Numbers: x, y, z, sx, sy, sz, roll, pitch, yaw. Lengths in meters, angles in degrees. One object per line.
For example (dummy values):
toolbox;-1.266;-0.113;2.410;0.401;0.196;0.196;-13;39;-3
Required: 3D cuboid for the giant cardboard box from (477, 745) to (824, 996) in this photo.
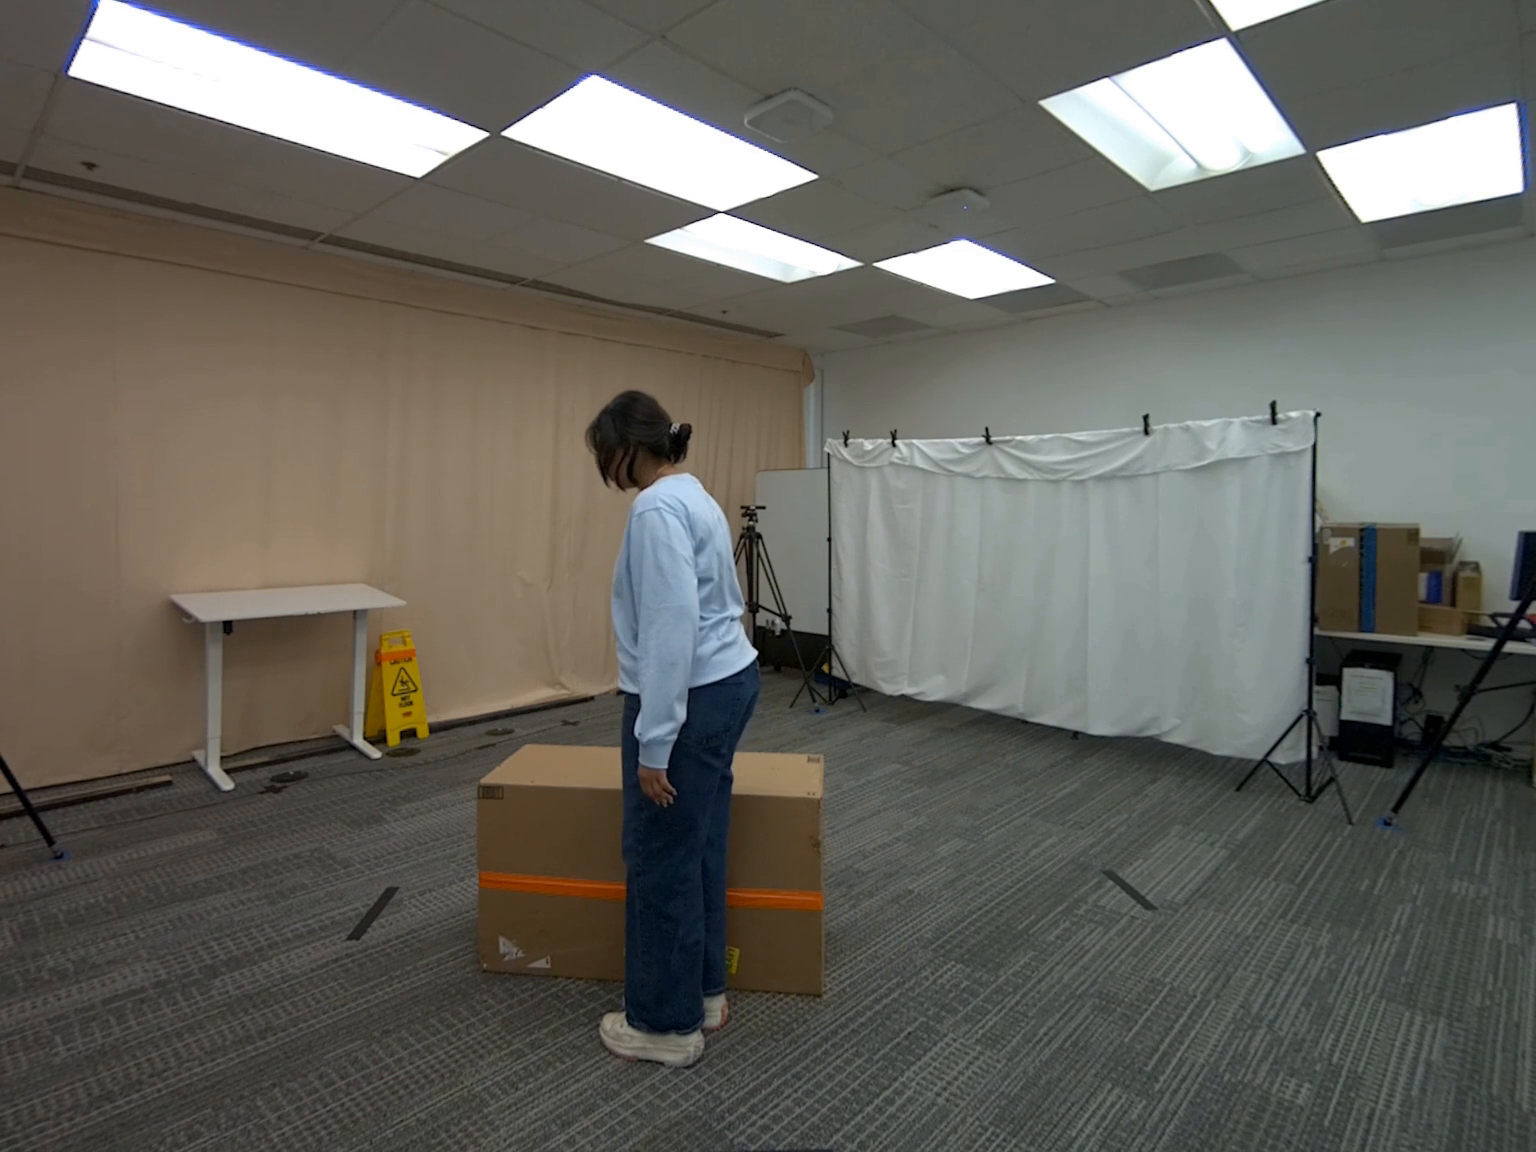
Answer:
giant cardboard box;-0.339;0.884;2.644;1.034;0.576;0.424;1;4;7
